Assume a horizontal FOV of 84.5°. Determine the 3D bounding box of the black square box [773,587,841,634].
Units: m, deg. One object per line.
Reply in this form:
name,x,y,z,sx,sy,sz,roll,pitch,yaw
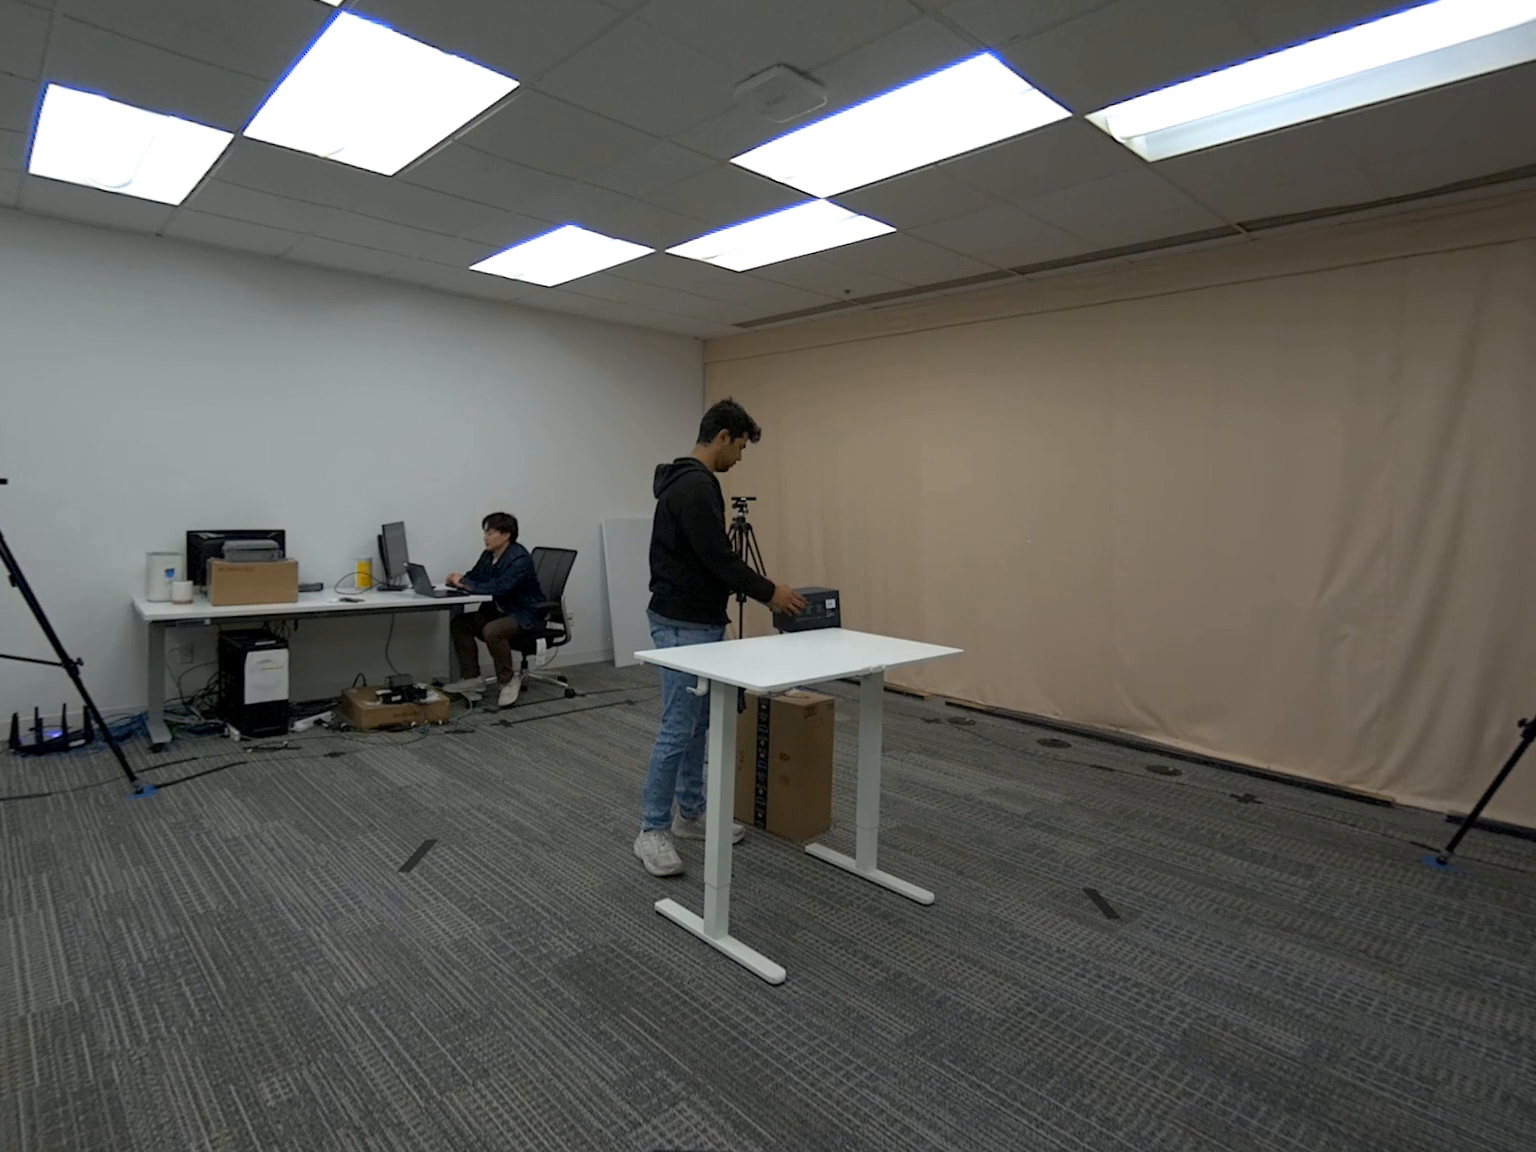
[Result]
black square box,0.149,0.139,3.484,0.214,0.155,0.231,-4,4,-16
